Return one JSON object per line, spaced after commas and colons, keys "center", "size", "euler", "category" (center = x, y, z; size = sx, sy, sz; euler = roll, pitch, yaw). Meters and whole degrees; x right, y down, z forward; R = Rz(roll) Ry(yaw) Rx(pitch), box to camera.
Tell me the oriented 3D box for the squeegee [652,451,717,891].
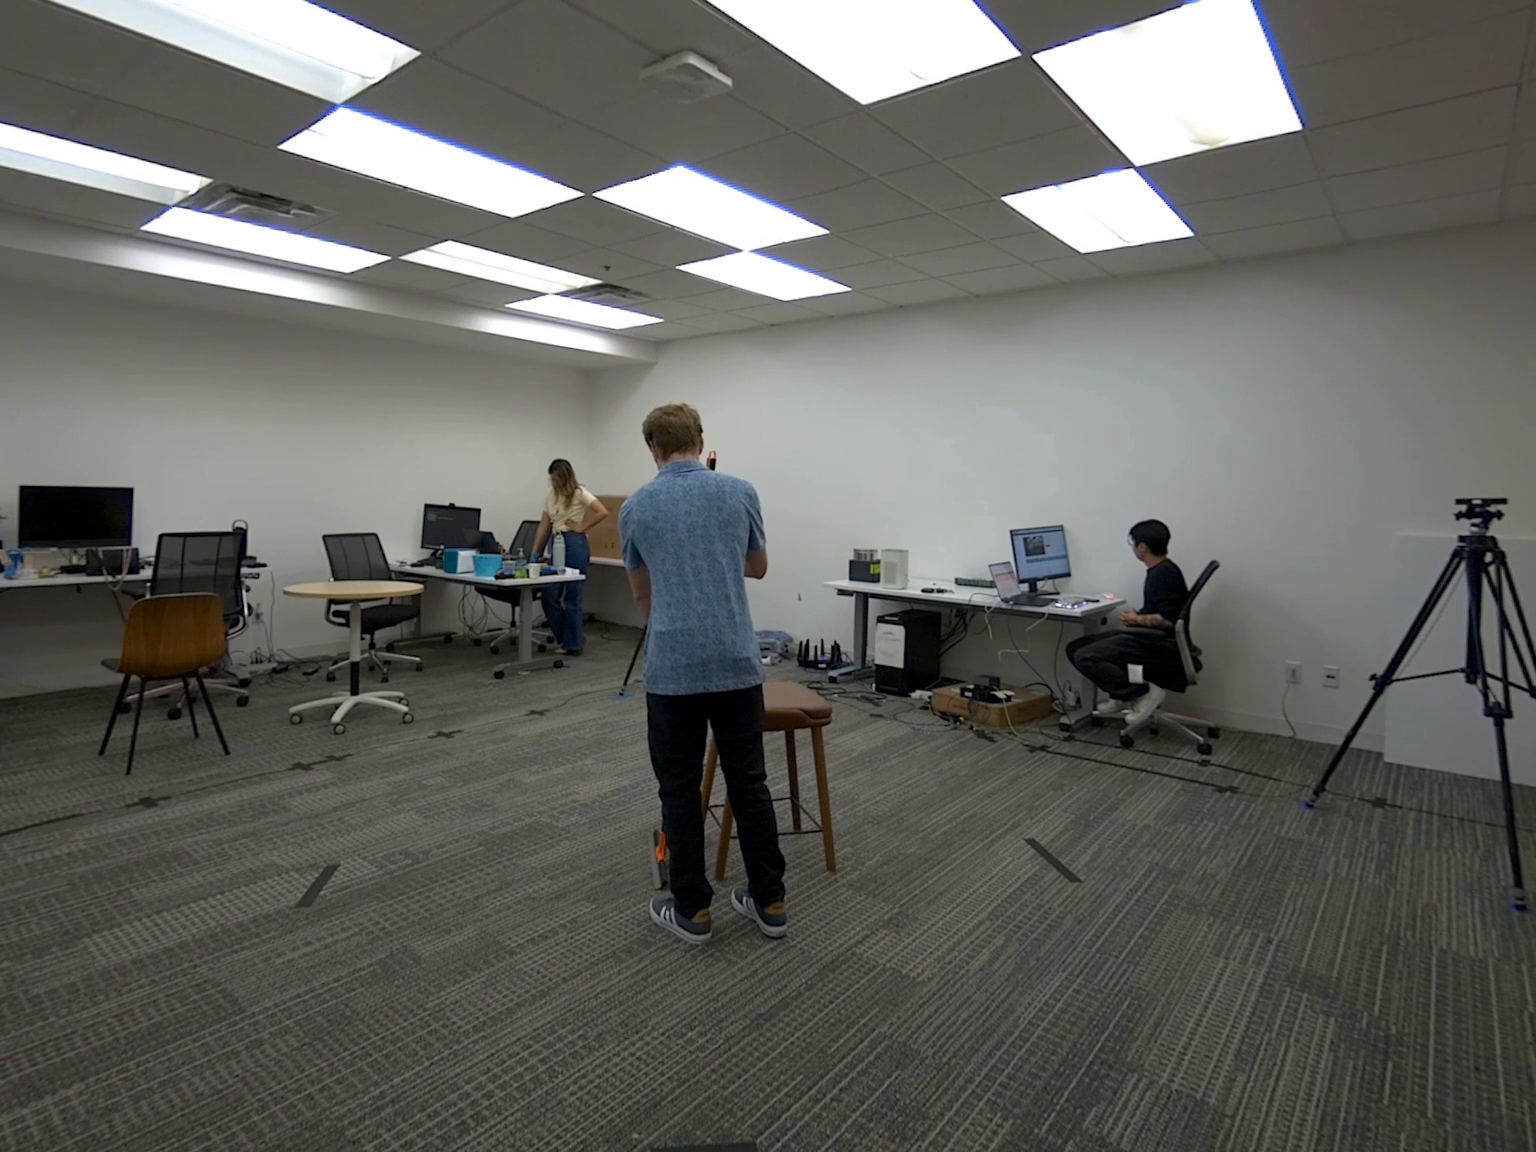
{"center": [-0.299, 0.300, 3.115], "size": [0.052, 1.536, 0.441], "euler": [6, 1, -8], "category": "squeegee"}
